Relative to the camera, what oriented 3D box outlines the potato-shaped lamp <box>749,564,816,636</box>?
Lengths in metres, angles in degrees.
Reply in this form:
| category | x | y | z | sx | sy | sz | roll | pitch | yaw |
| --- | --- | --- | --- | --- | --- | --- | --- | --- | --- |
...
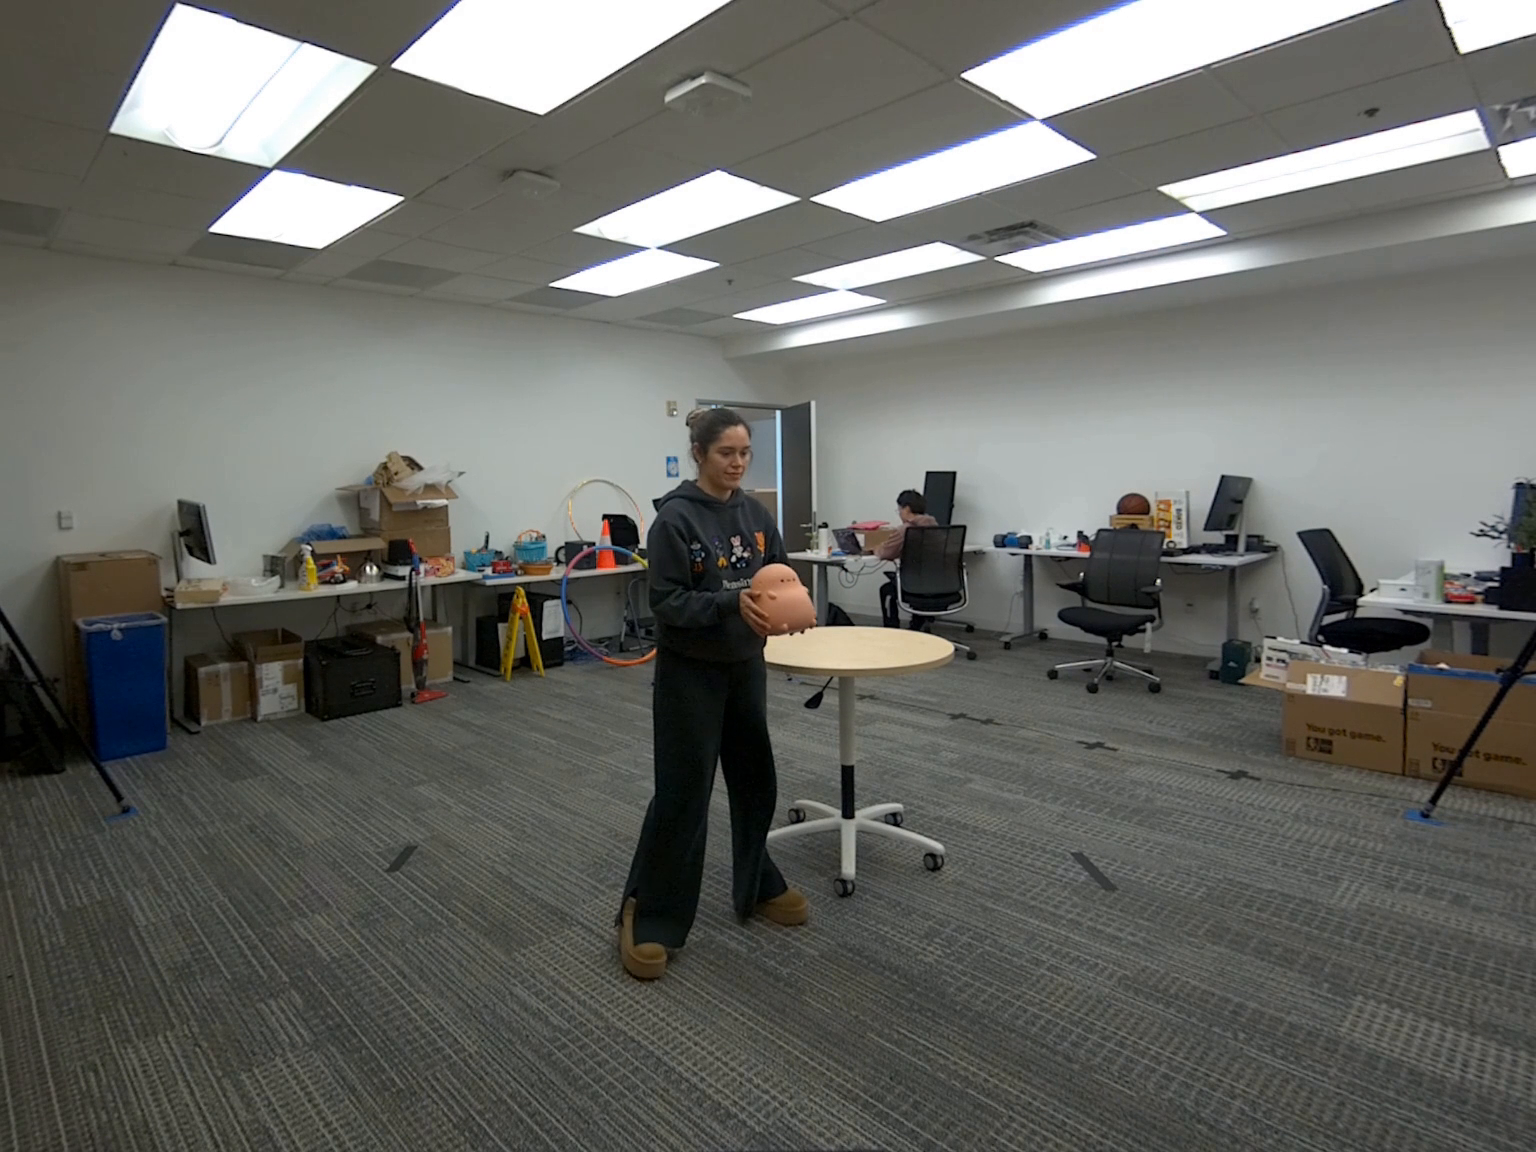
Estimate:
| category | x | y | z | sx | sy | sz | roll | pitch | yaw |
| --- | --- | --- | --- | --- | --- | --- | --- | --- | --- |
| potato-shaped lamp | 0.019 | 0.064 | 2.356 | 0.161 | 0.200 | 0.174 | -7 | -9 | -32 |
